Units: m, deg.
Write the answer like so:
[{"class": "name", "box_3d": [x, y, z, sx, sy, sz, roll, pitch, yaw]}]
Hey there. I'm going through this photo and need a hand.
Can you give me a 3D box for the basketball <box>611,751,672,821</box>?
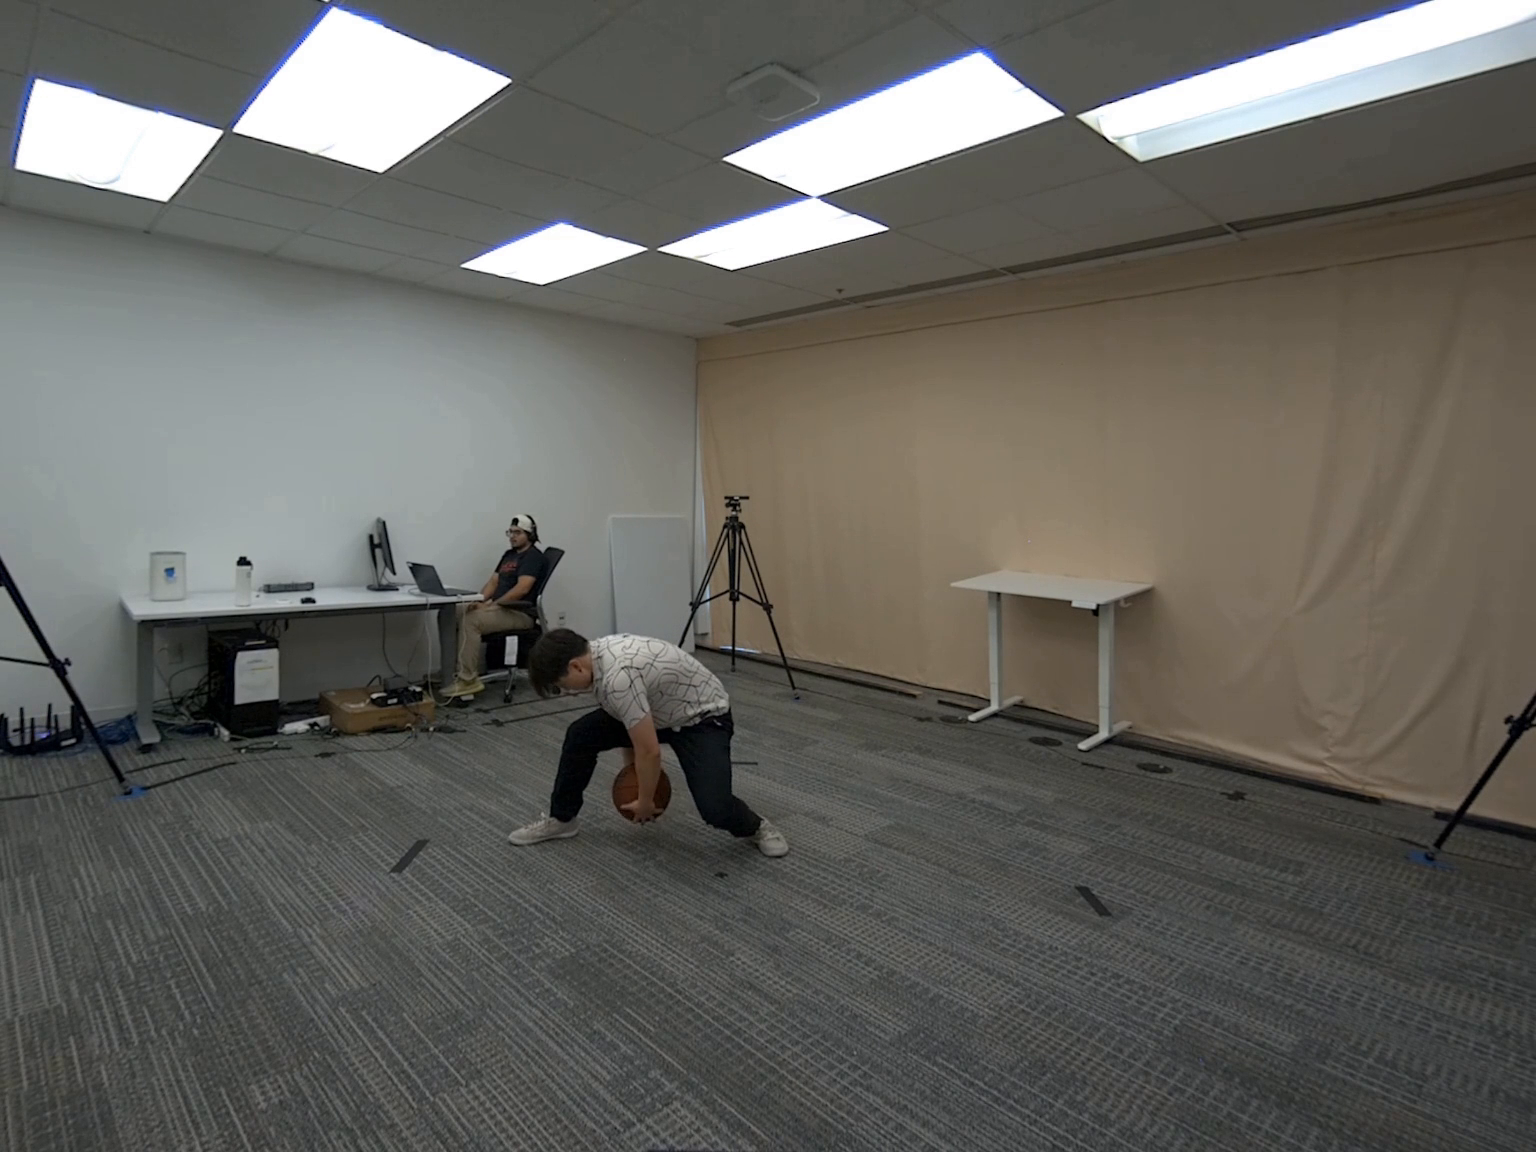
[{"class": "basketball", "box_3d": [-0.523, 0.855, 3.397, 0.236, 0.235, 0.237, 1, 4, -1]}]
